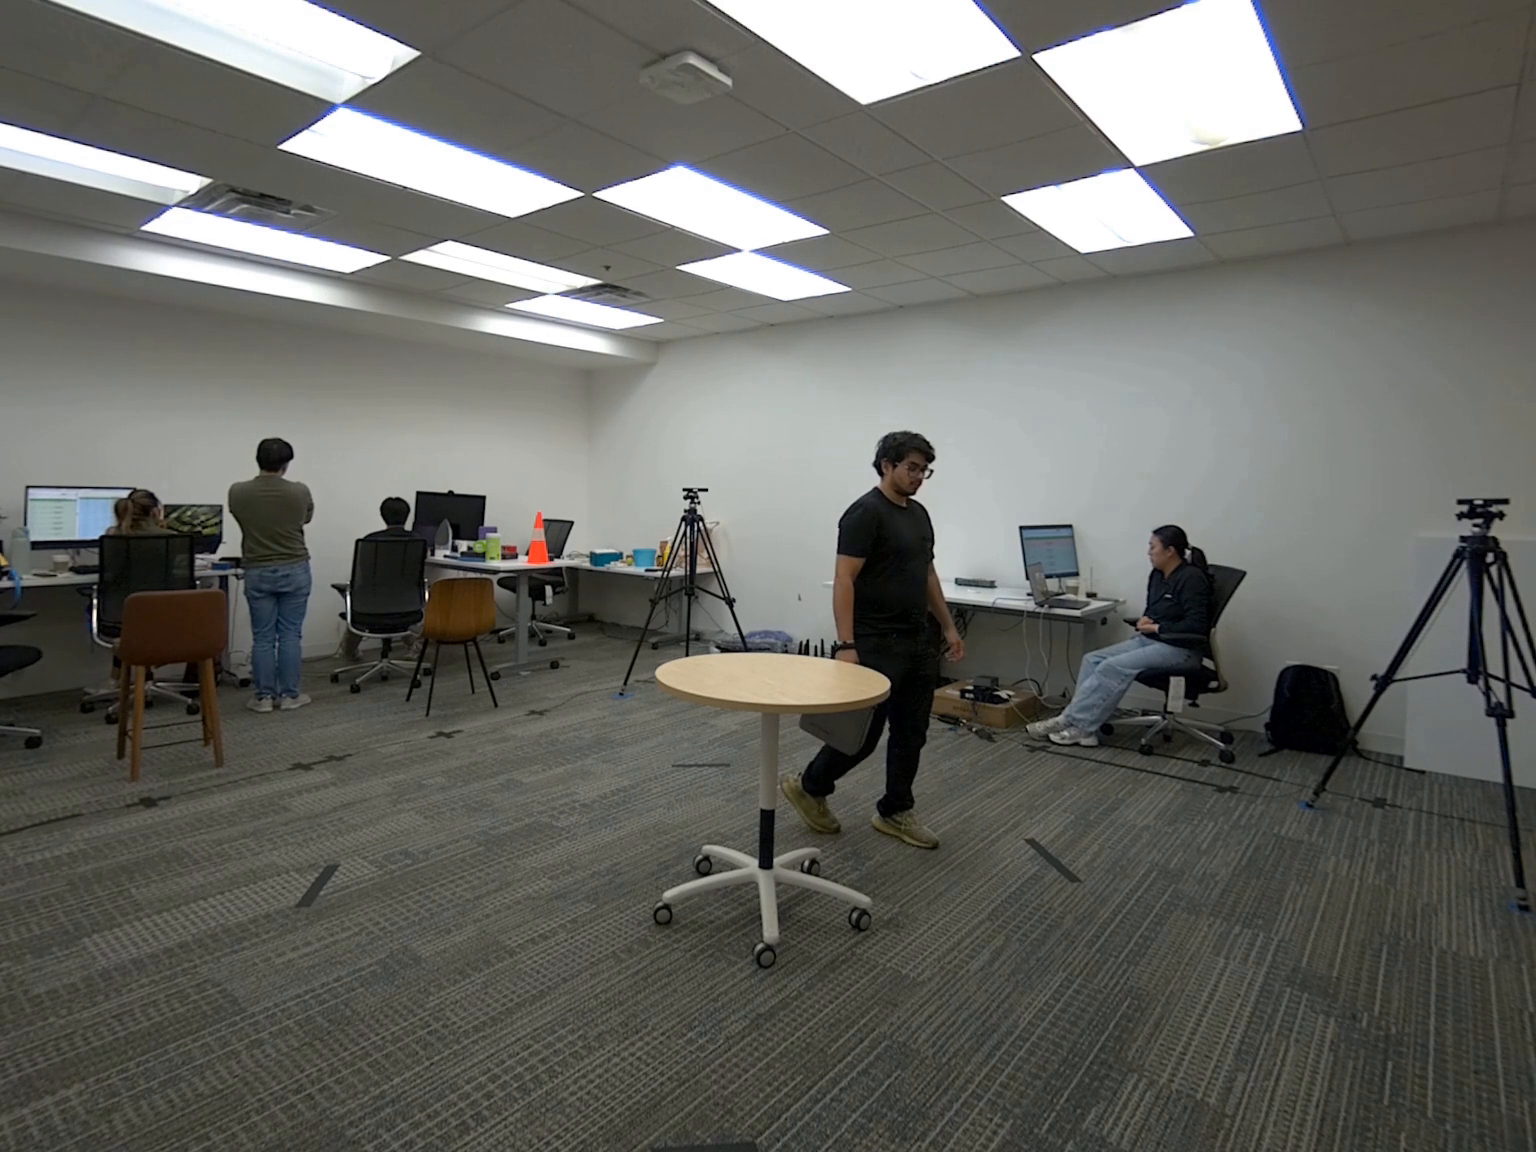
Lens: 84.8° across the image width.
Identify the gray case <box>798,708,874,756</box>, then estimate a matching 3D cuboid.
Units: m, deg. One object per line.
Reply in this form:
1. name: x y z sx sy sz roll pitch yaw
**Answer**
1. gray case: 0.264 0.506 3.226 0.265 0.257 0.102 25 21 25
